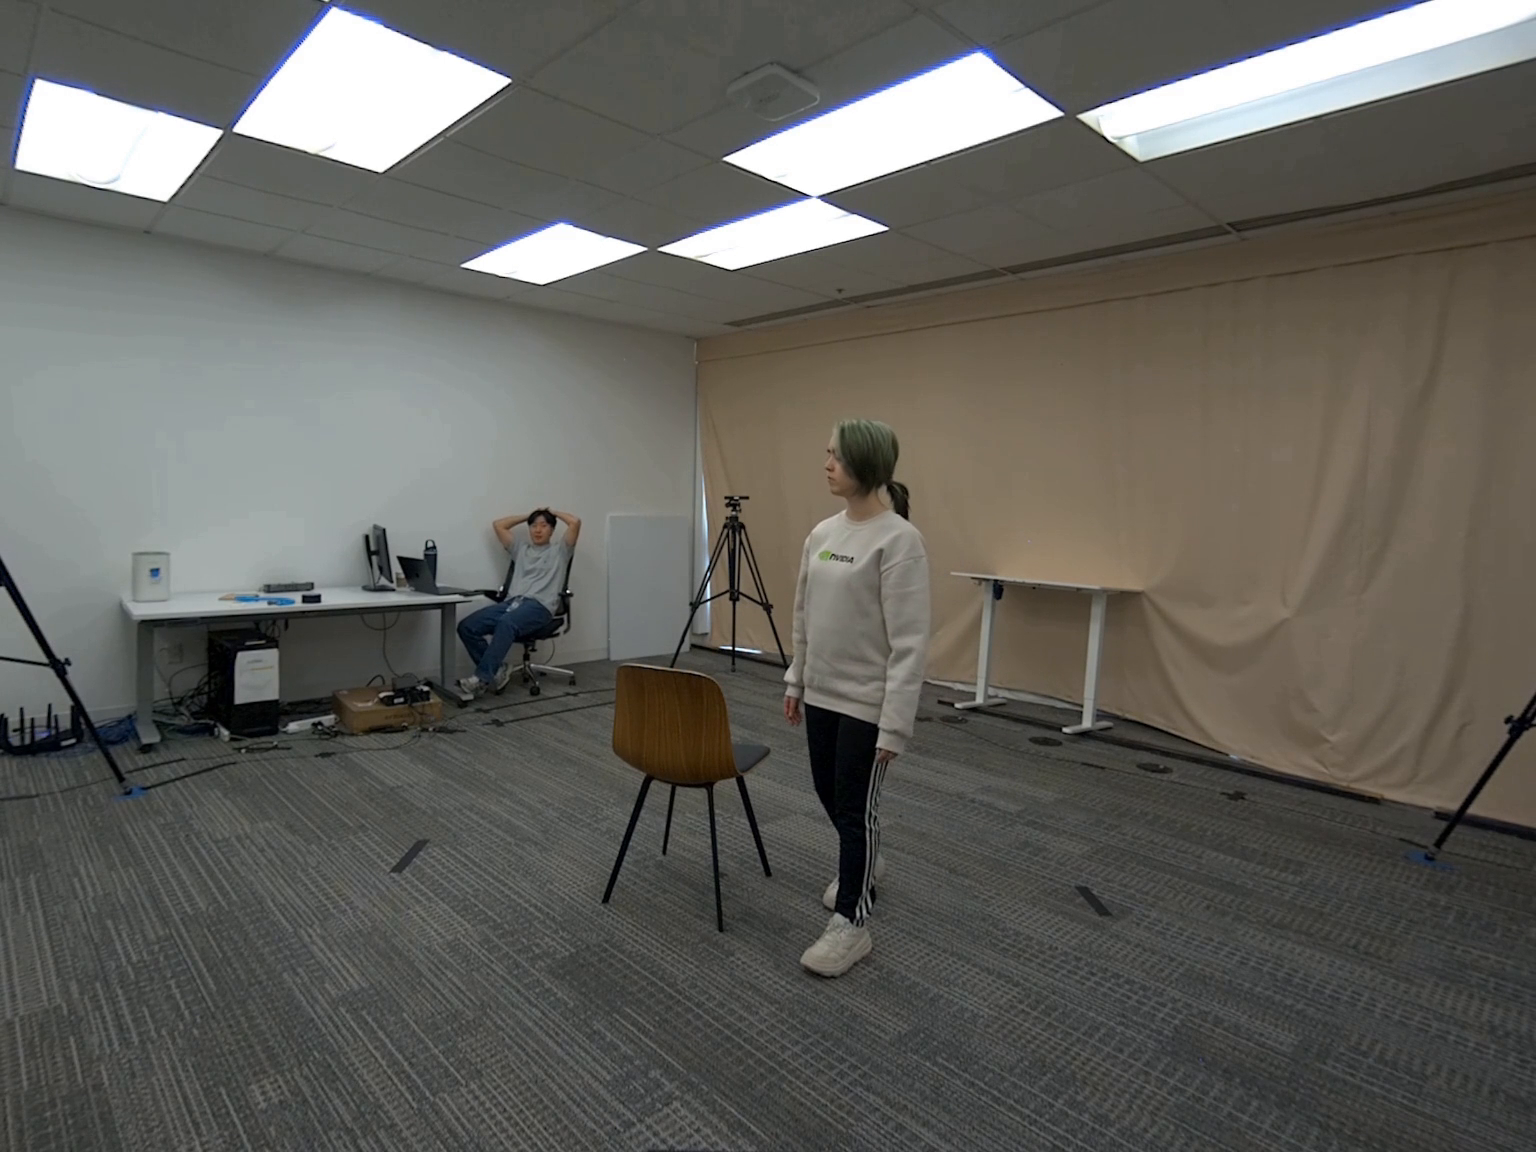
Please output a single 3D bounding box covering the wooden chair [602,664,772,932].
[{"bbox_3d":[-0.271,0.686,2.967,0.486,0.872,0.517,3,8,22],"label":"wooden chair"}]
